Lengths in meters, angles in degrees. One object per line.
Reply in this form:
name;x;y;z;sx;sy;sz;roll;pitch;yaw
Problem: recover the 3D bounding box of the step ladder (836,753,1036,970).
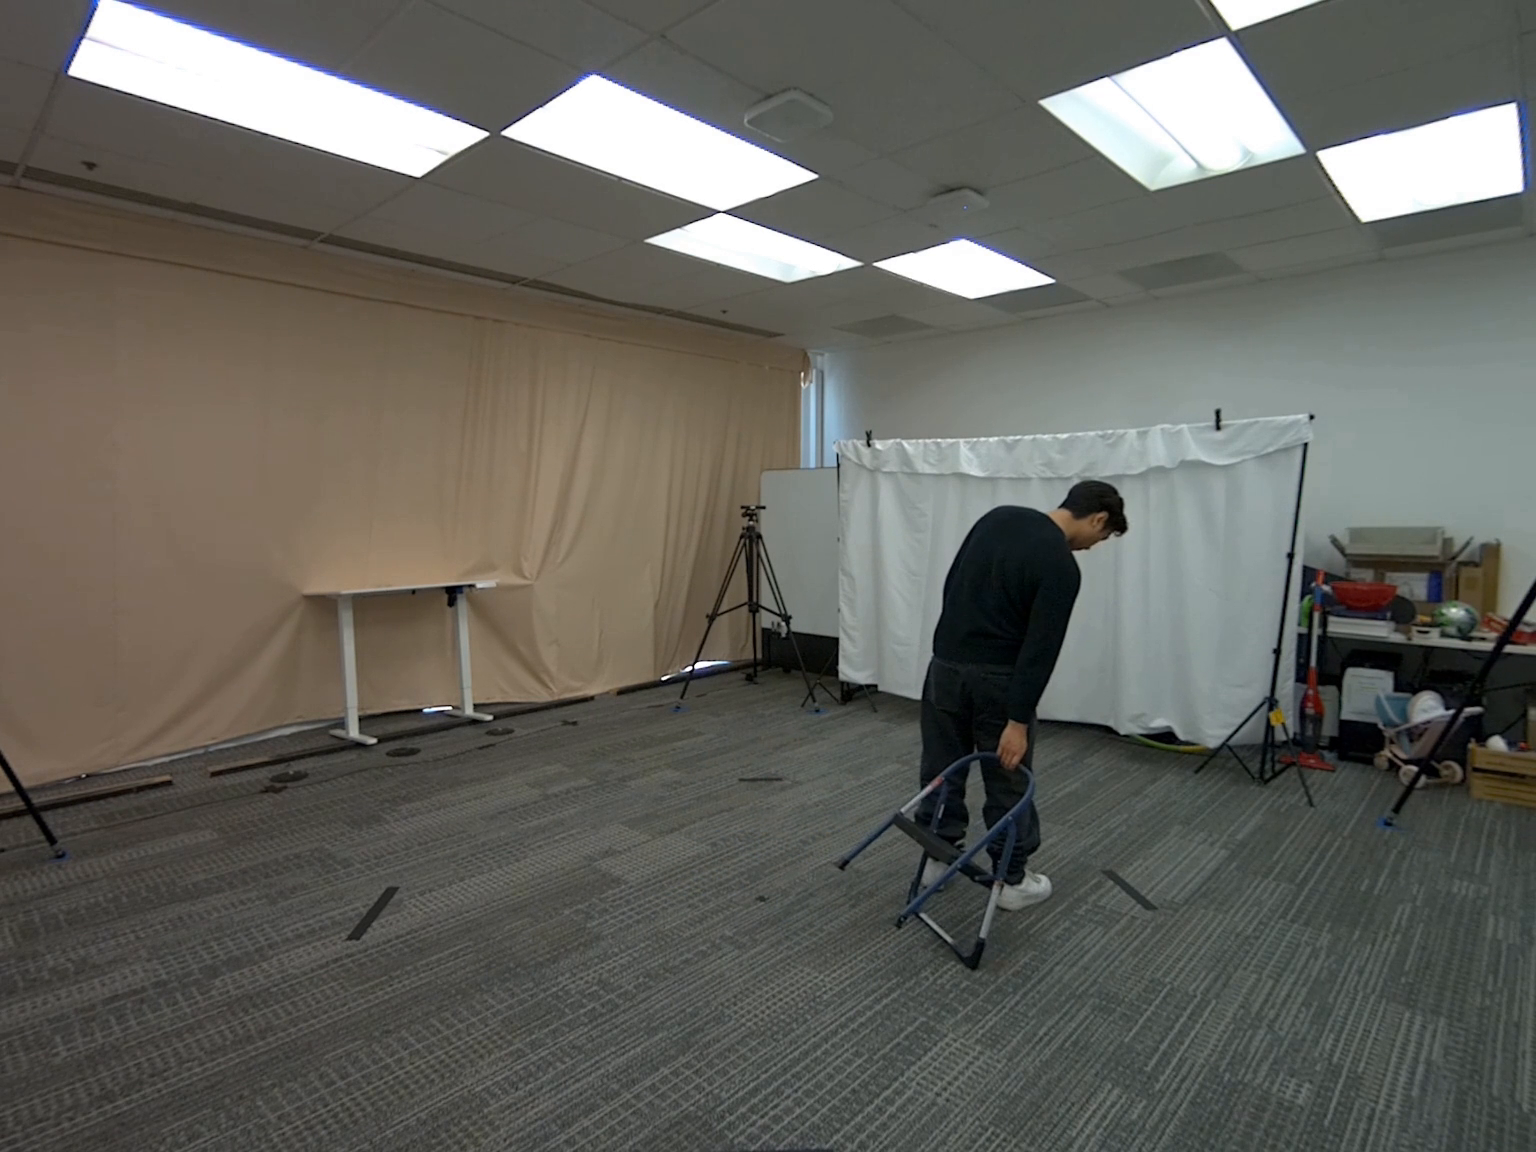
step ladder;0.587;0.829;2.701;0.342;0.606;0.439;34;-5;-17
